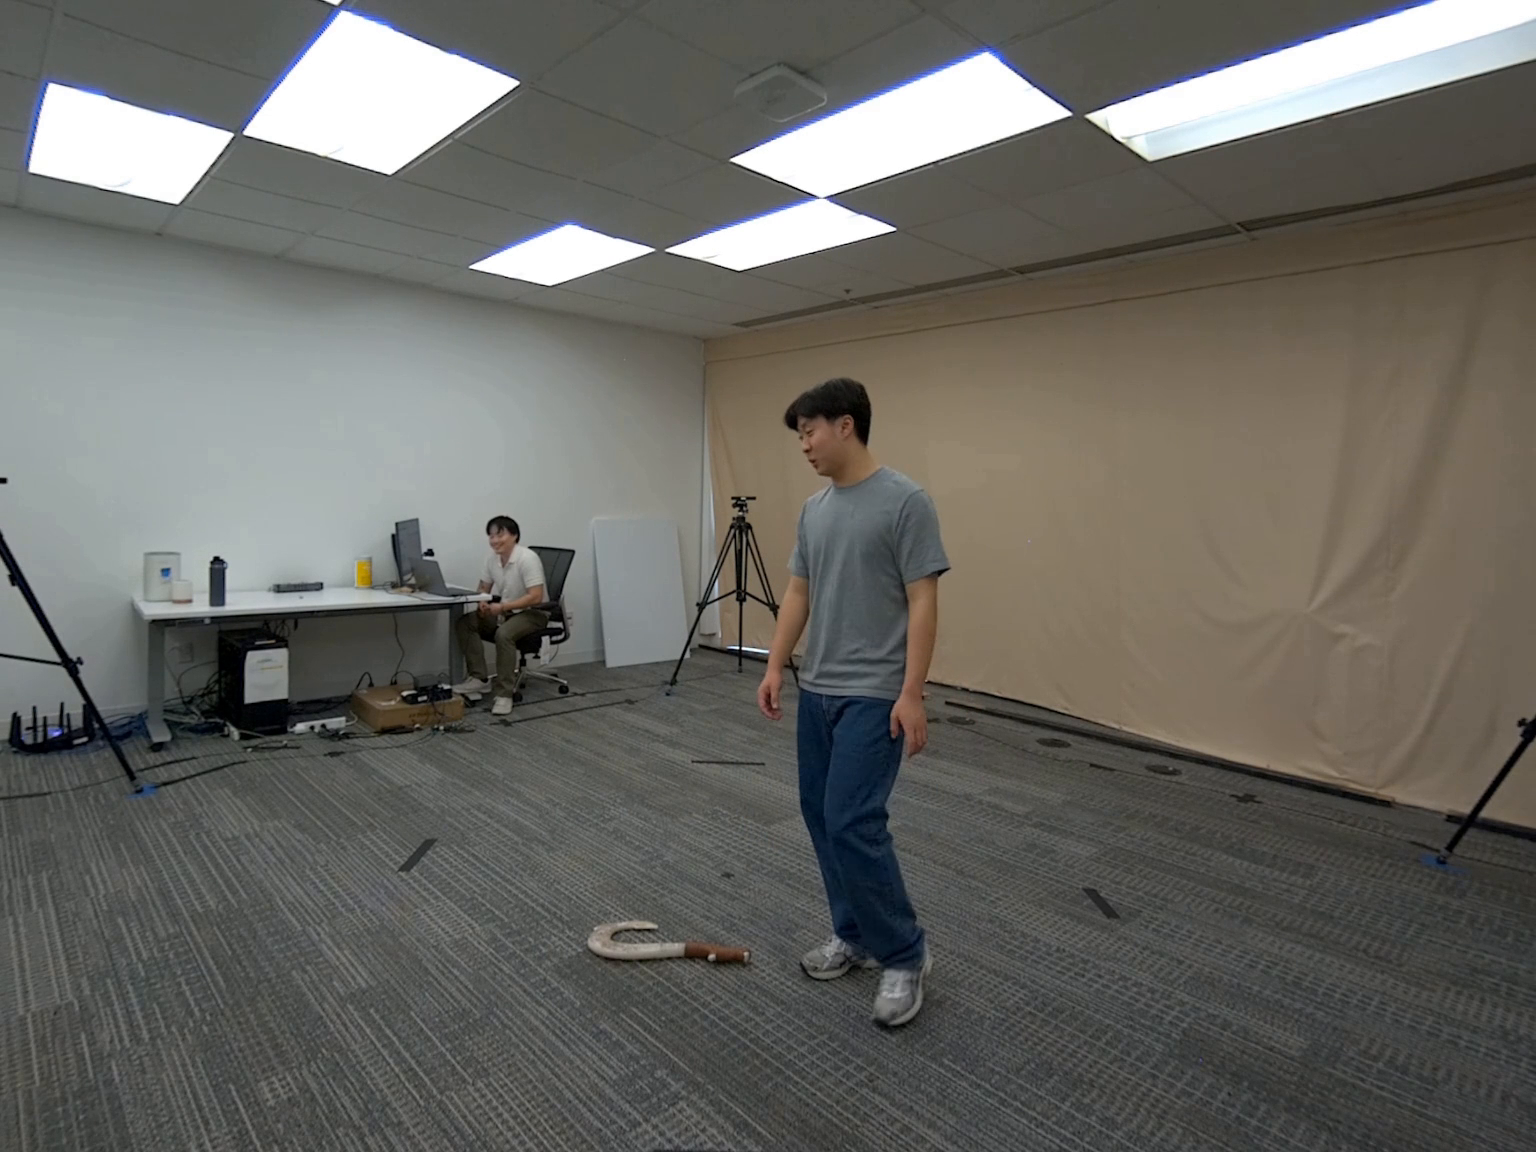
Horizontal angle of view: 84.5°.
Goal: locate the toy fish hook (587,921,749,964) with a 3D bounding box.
[{"bbox_3d":[-0.305,1.121,2.595,0.509,0.048,0.224,2,6,6],"label":"toy fish hook"}]
